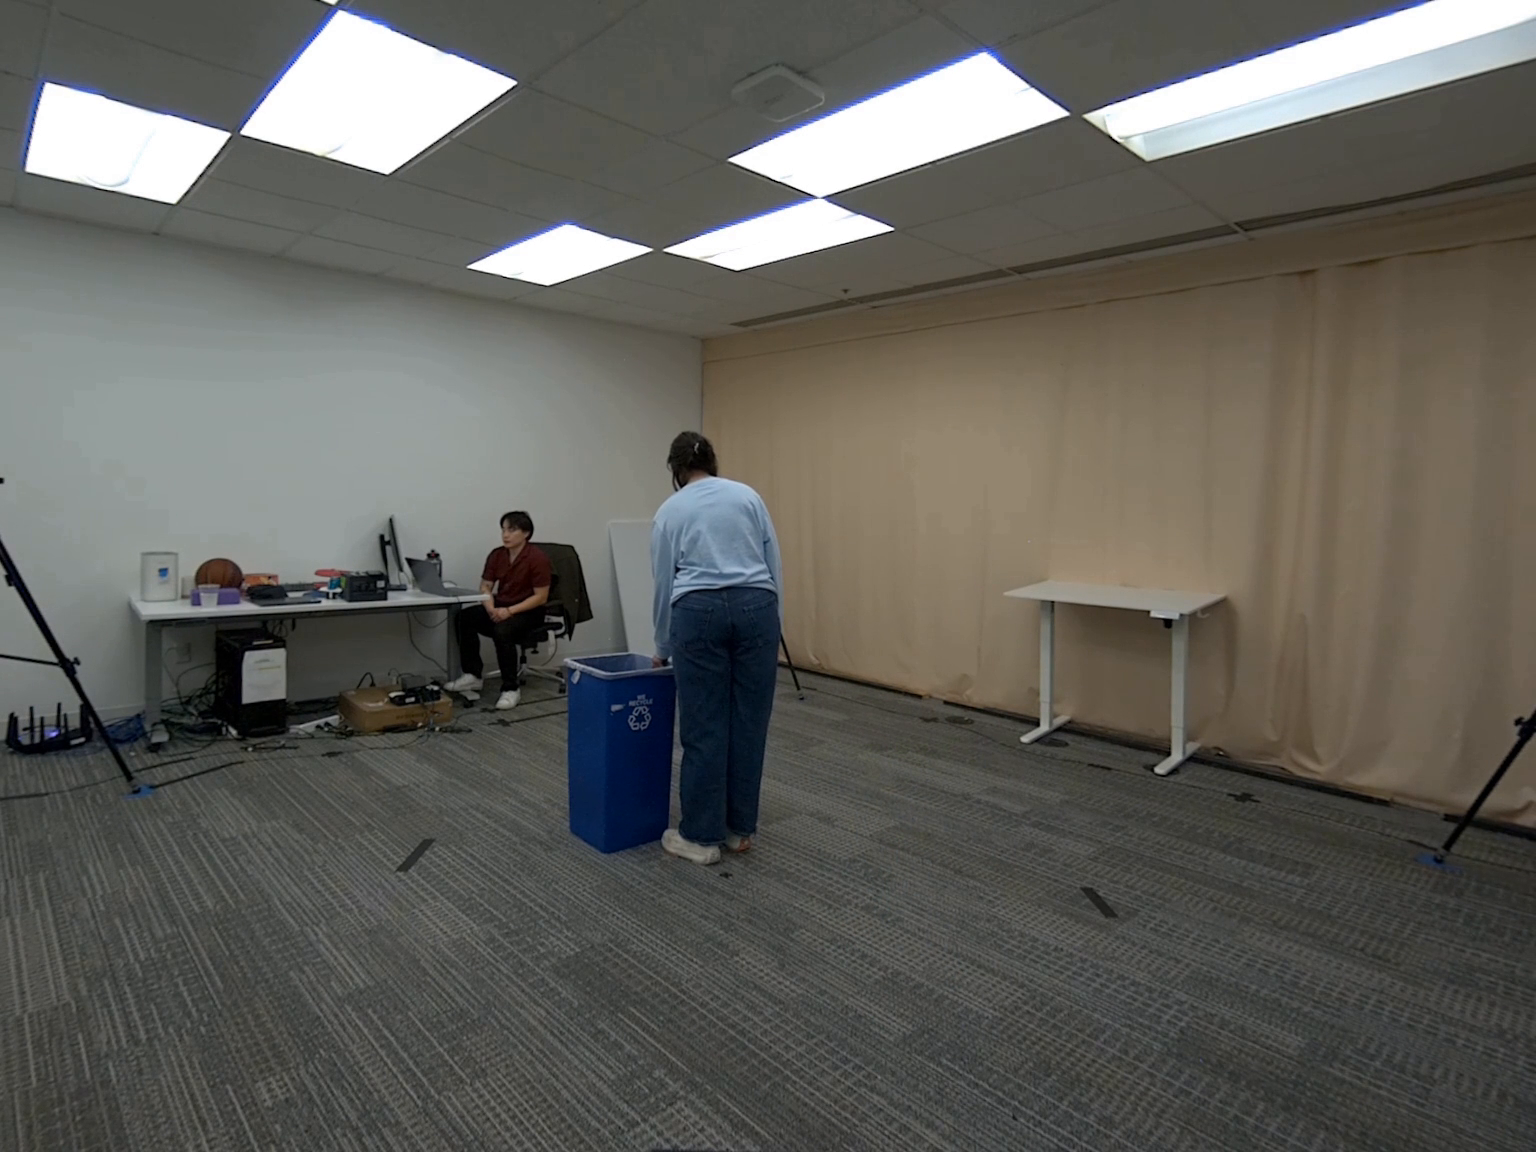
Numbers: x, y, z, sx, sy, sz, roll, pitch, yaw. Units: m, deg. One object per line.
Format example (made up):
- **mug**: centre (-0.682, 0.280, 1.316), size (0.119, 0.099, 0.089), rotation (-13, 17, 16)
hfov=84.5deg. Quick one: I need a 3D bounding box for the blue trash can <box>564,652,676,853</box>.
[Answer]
- **blue trash can**: centre (-0.608, 0.704, 3.454), size (0.365, 0.712, 0.388), rotation (-1, 5, -41)
